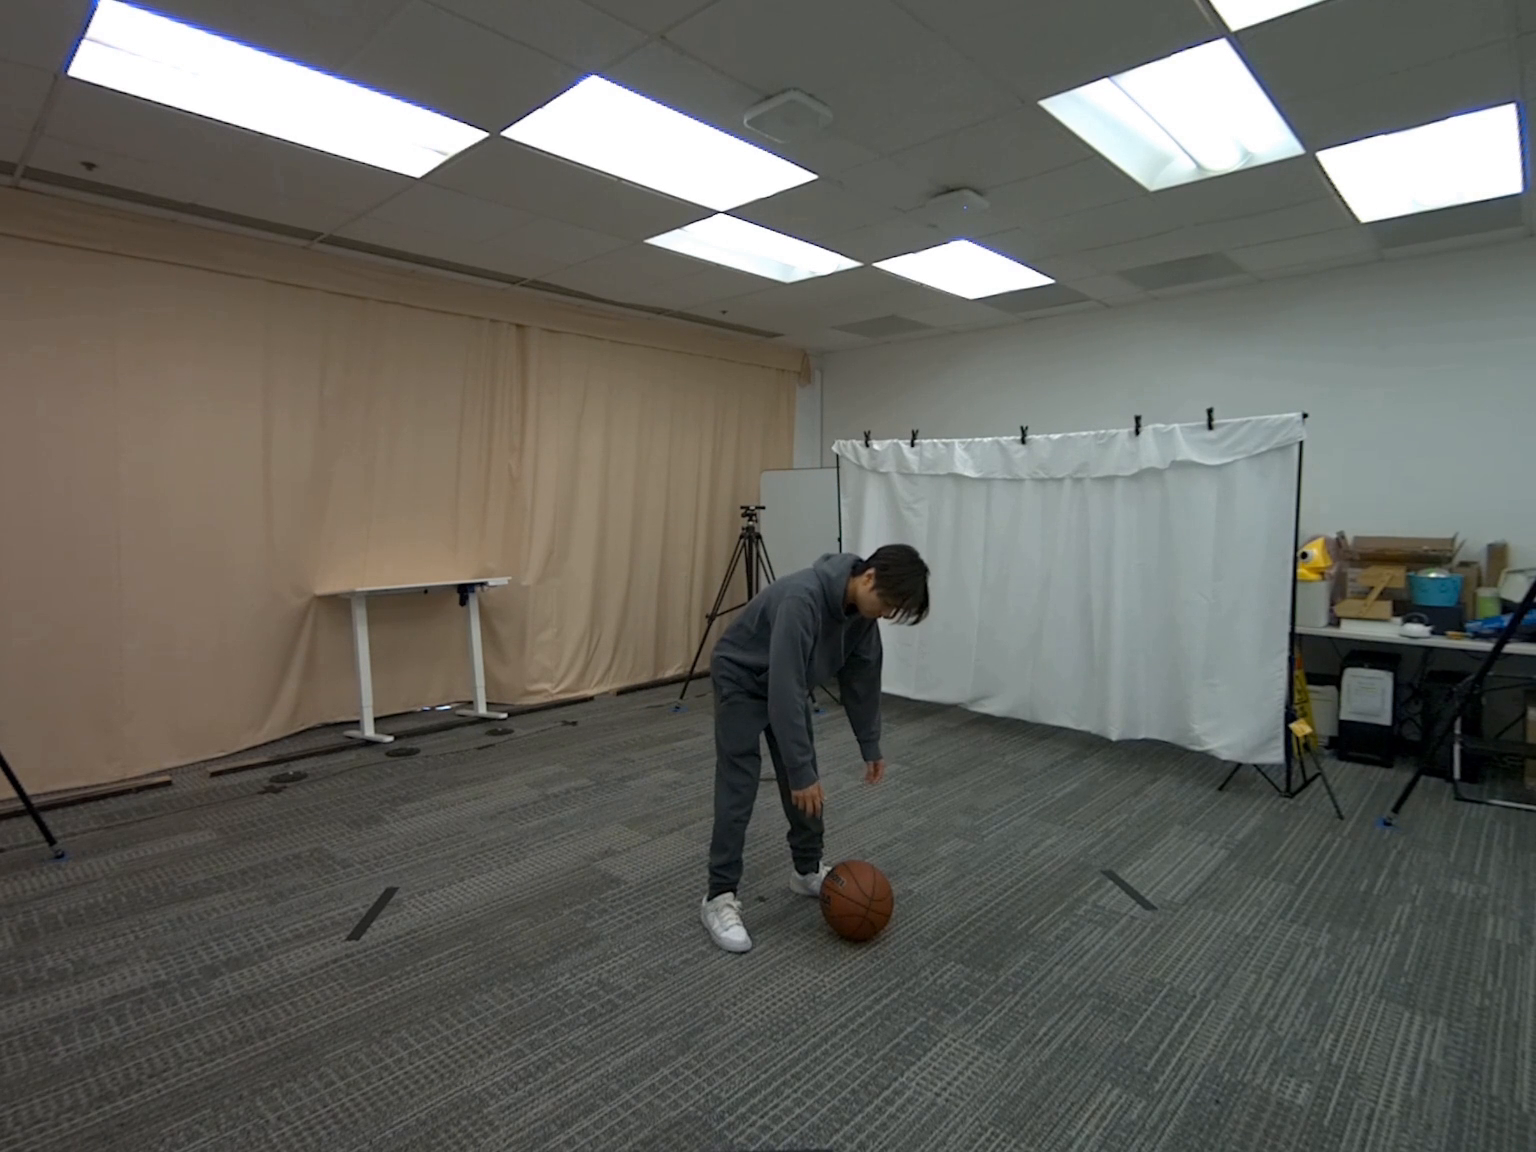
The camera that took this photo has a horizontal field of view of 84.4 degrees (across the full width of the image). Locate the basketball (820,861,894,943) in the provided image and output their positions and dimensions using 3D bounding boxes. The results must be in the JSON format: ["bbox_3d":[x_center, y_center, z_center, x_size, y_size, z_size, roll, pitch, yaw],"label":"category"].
[{"bbox_3d":[0.295,1.047,2.725,0.236,0.235,0.237,0,4,-2],"label":"basketball"}]
